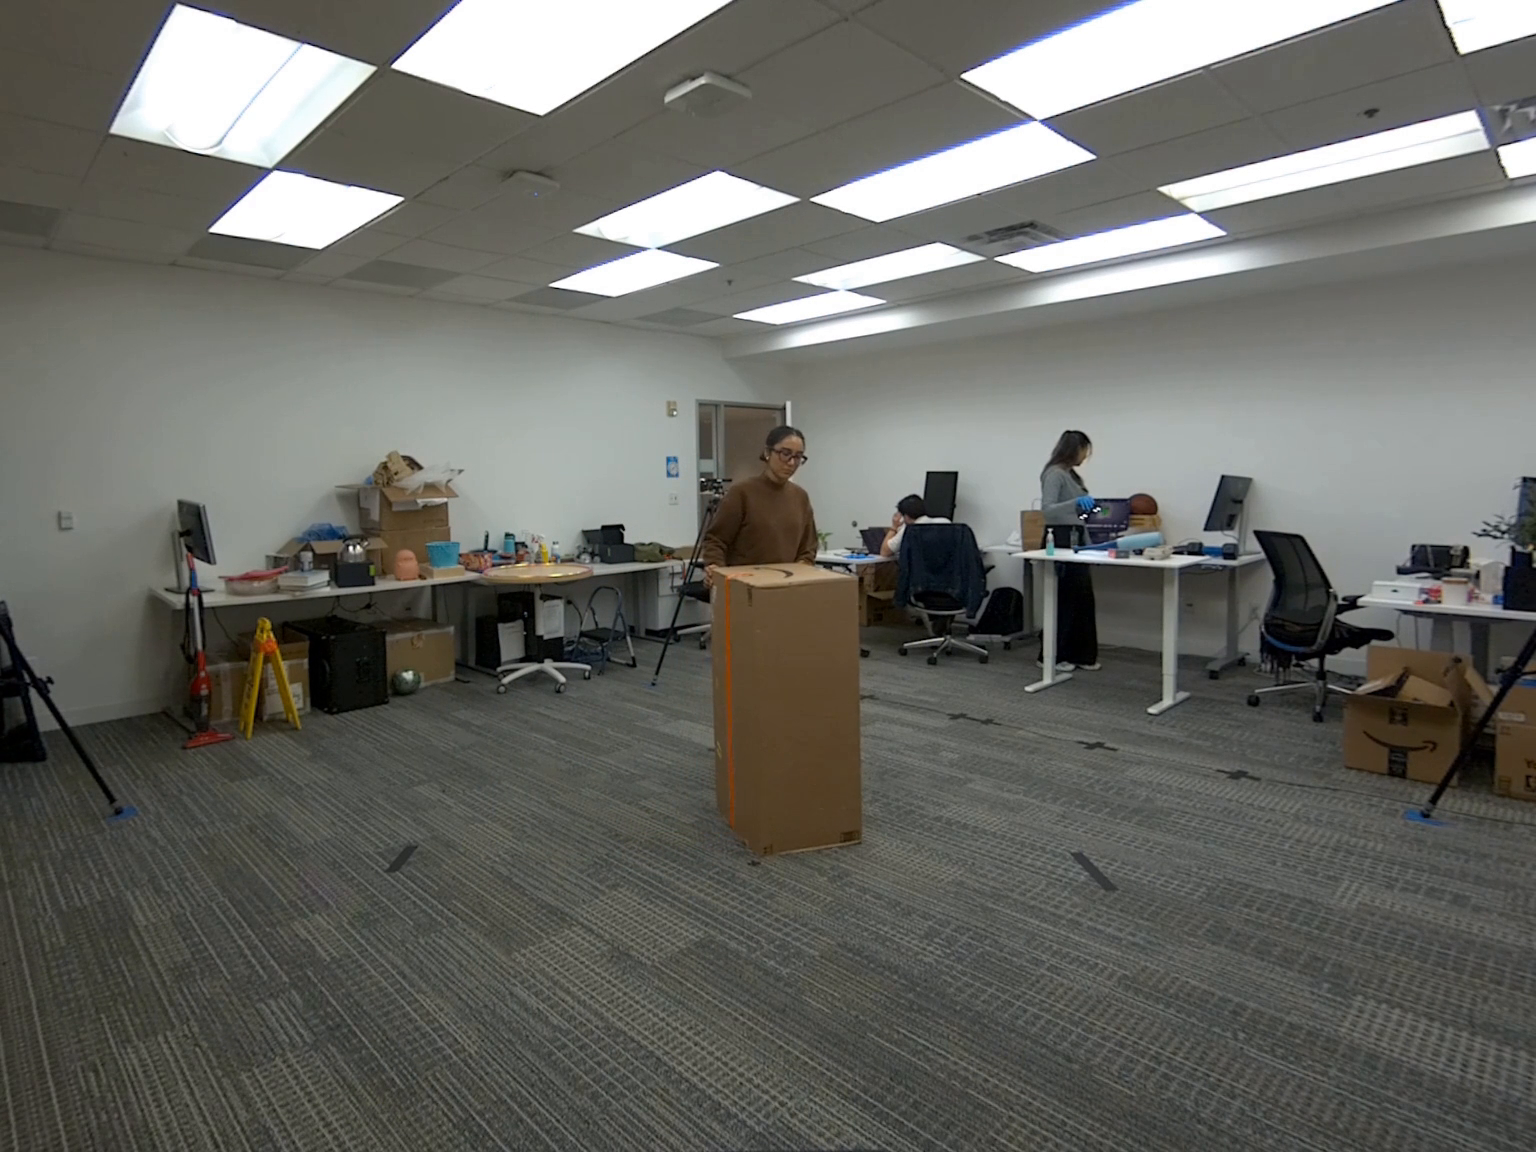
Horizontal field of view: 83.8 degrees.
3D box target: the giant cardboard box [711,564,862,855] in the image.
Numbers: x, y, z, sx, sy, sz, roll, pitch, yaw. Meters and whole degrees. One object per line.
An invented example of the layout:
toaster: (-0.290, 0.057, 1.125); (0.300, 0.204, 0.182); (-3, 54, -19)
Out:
giant cardboard box: (0.052, 0.495, 3.432); (0.419, 1.021, 0.589); (-3, 5, -18)
